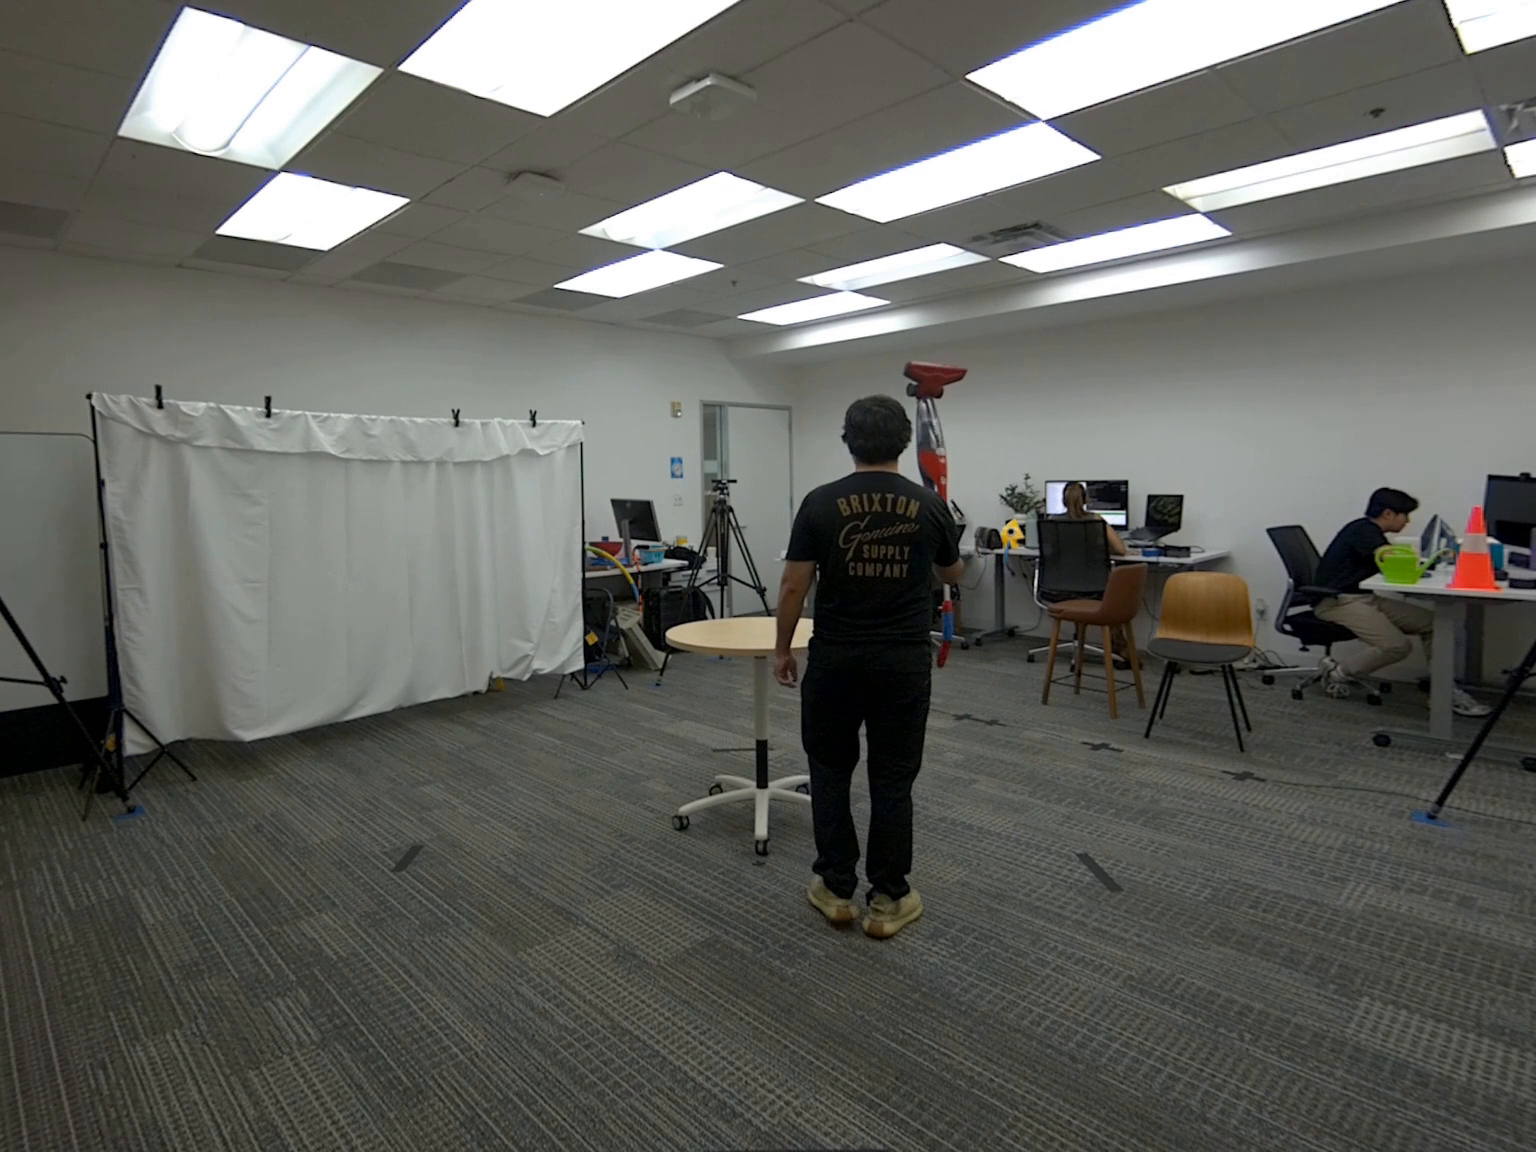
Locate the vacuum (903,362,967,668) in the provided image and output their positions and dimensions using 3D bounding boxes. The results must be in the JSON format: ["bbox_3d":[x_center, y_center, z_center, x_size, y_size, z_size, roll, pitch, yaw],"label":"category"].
[{"bbox_3d":[0.611,-0.215,3.117,0.250,1.053,0.145,1,-4,-12],"label":"vacuum"}]
